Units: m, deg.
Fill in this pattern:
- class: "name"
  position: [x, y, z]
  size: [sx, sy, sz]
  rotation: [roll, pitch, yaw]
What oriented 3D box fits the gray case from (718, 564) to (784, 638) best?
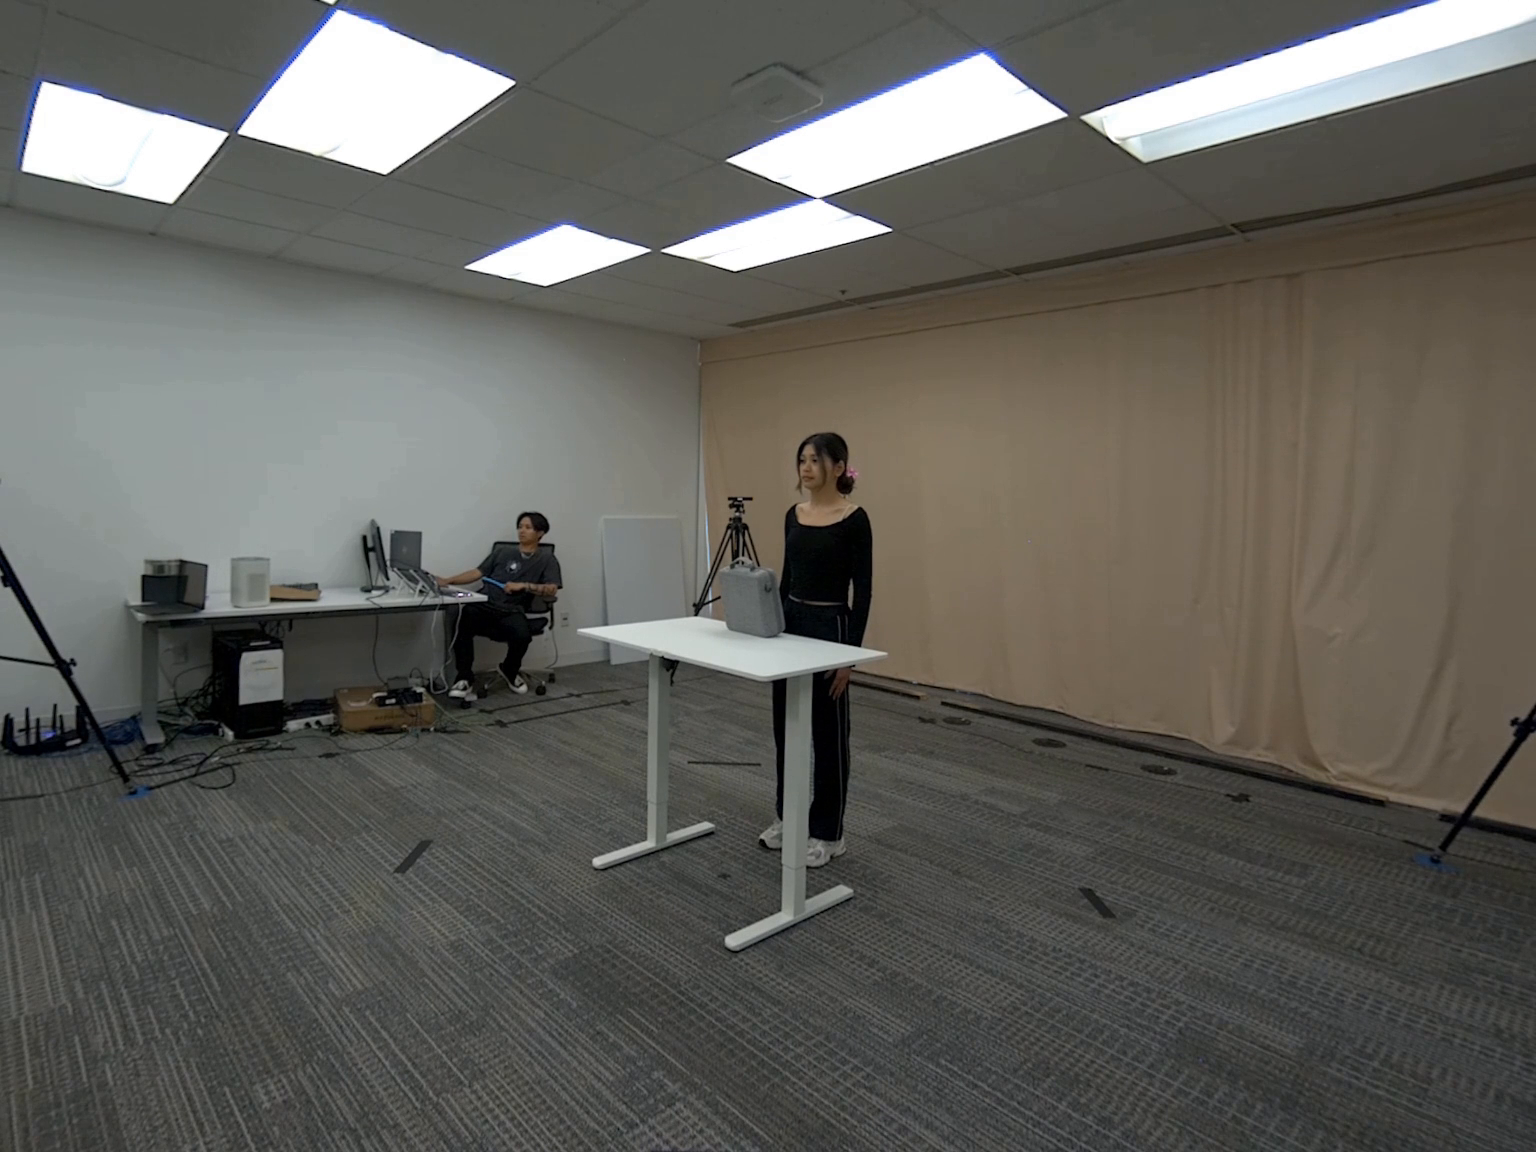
- class: "gray case"
  position: [-0.070, 0.087, 3.166]
  size: [0.102, 0.258, 0.263]
  rotation: [-15, 14, -35]
